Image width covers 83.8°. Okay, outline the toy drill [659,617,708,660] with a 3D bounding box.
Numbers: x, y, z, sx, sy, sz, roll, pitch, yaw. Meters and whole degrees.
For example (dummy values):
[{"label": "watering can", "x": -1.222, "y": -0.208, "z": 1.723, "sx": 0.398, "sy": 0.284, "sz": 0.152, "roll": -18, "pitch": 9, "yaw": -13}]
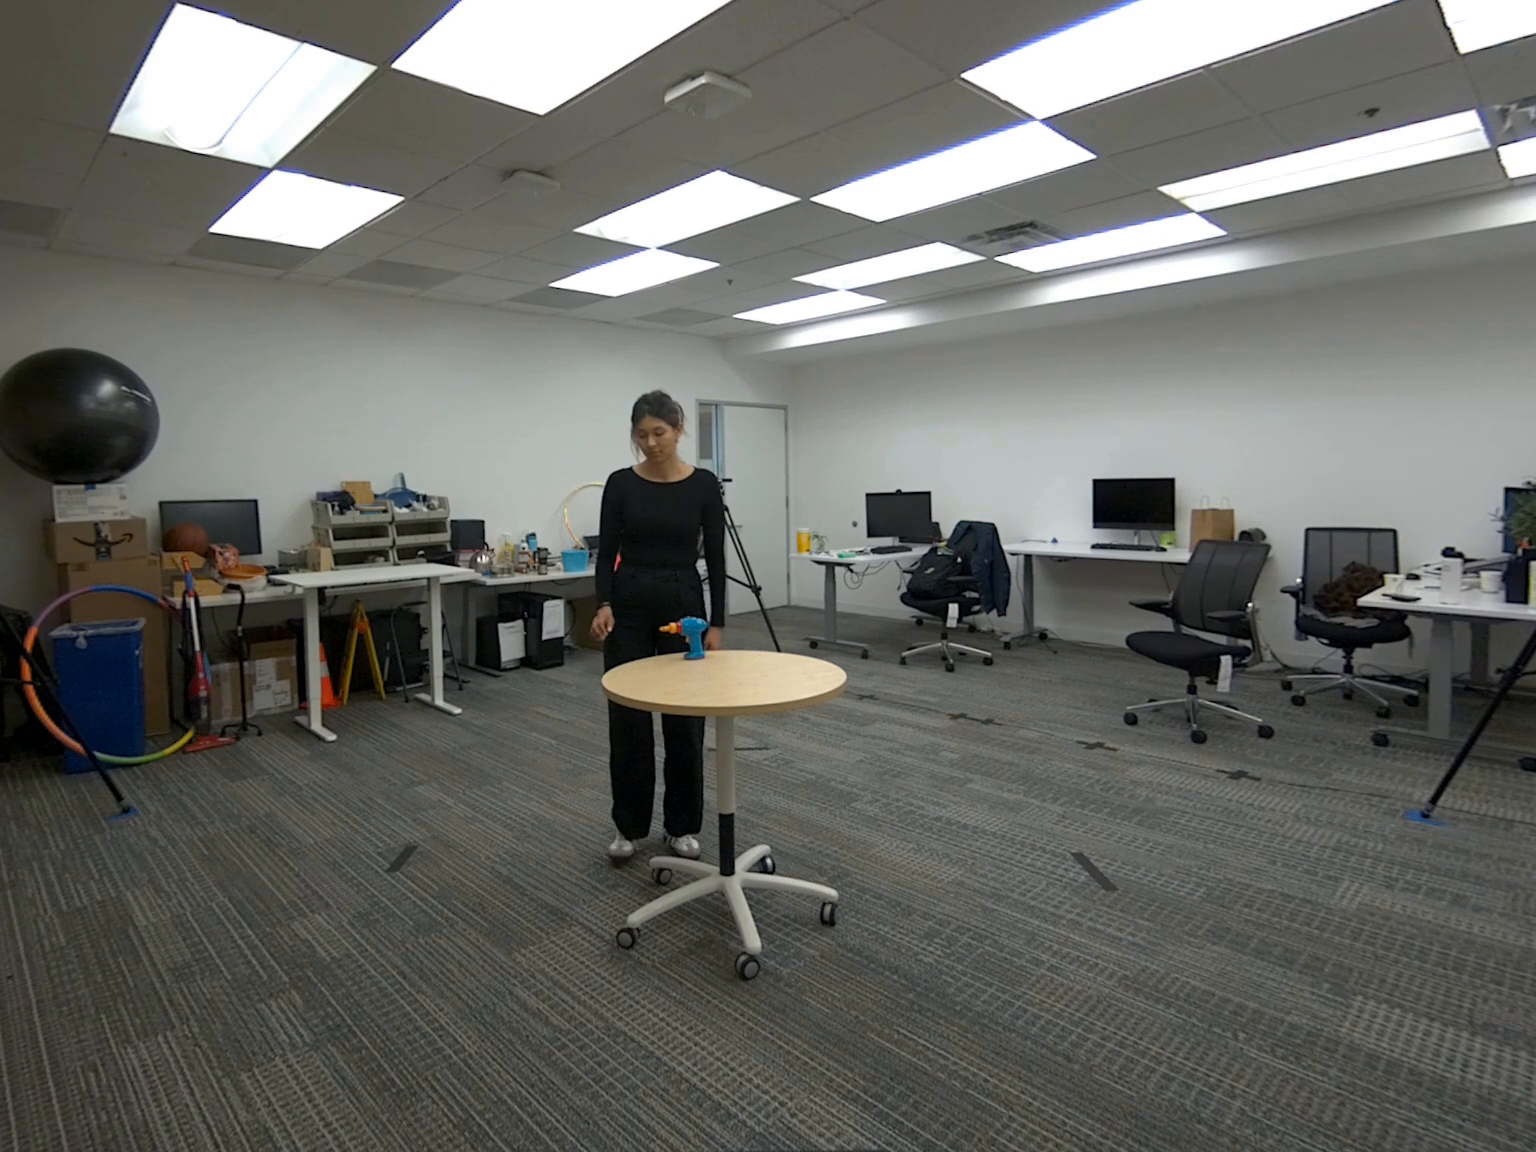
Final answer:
[{"label": "toy drill", "x": -0.293, "y": 0.217, "z": 2.926, "sx": 0.166, "sy": 0.146, "sz": 0.062, "roll": -4, "pitch": 2, "yaw": -22}]
